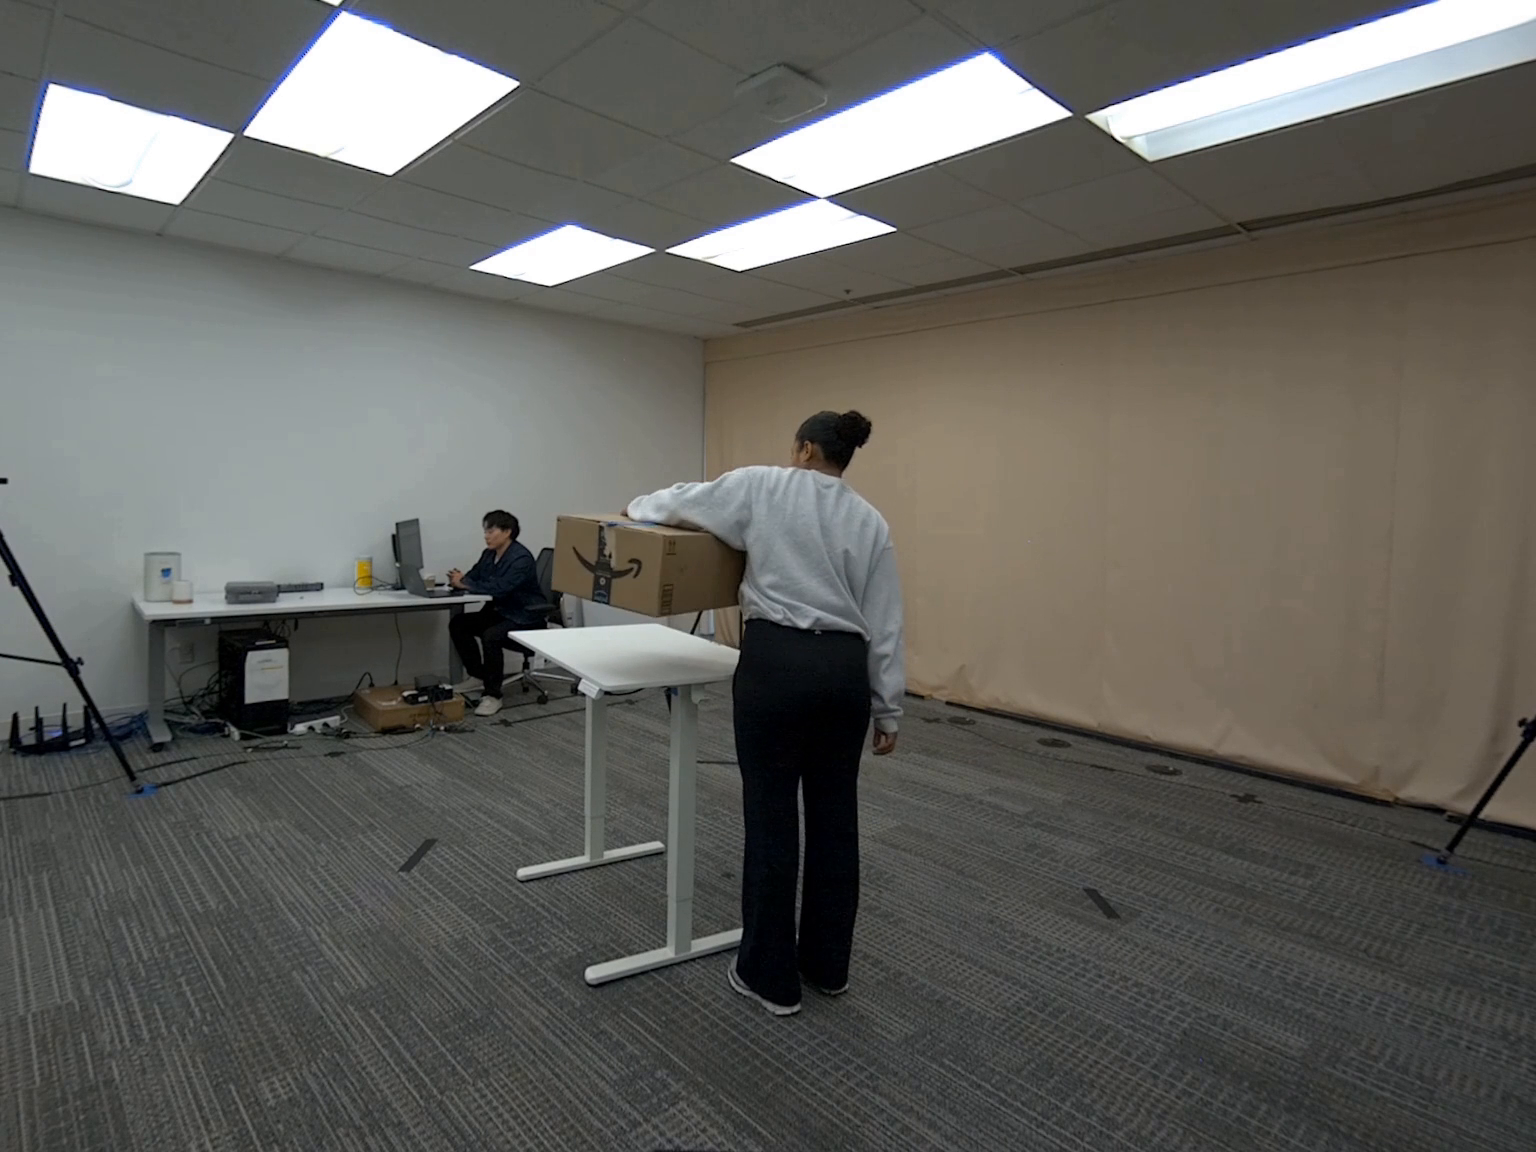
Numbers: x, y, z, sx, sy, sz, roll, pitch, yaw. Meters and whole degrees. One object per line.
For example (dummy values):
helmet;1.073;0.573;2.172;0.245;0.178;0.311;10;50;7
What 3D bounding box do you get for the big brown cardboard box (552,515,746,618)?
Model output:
big brown cardboard box;-0.273;-0.040;2.477;0.428;0.232;0.577;11;10;35
